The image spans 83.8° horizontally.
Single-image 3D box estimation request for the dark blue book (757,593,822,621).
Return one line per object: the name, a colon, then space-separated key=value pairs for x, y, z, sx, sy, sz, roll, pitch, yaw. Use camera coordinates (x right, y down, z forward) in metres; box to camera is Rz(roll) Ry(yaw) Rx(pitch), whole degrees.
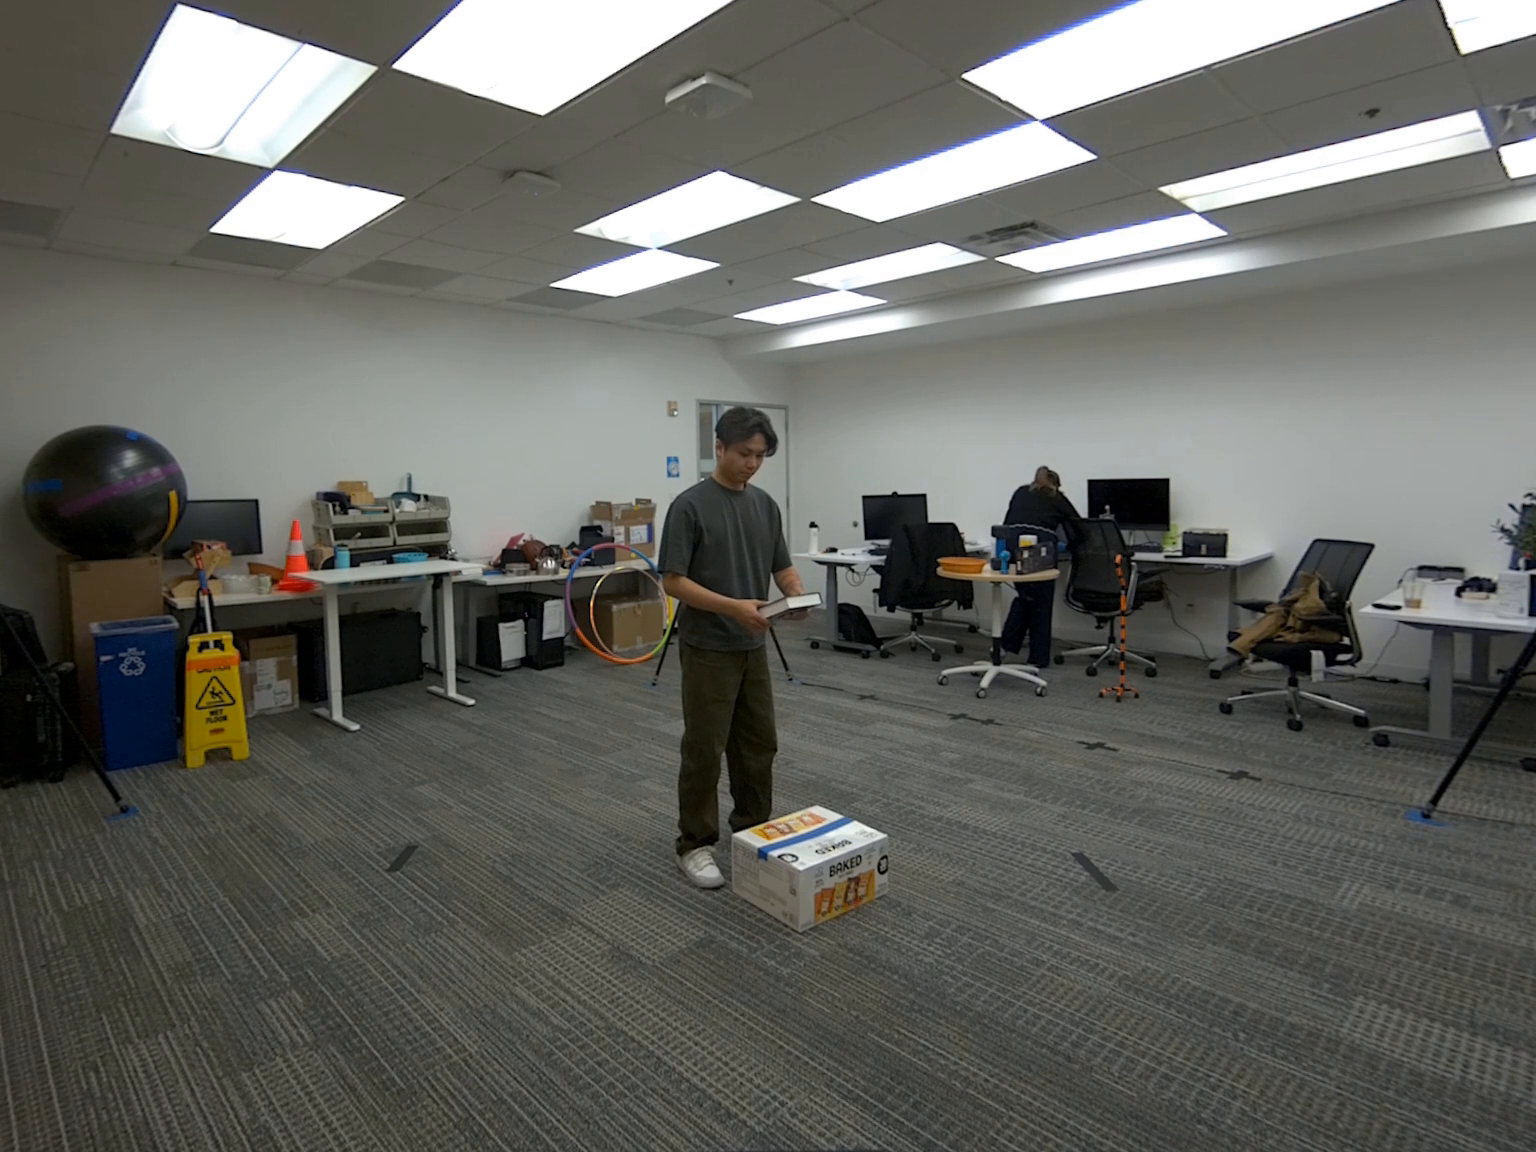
dark blue book: x=0.041 y=0.116 z=2.903 sx=0.159 sy=0.045 sz=0.249 roll=-7 pitch=-11 yaw=-45
